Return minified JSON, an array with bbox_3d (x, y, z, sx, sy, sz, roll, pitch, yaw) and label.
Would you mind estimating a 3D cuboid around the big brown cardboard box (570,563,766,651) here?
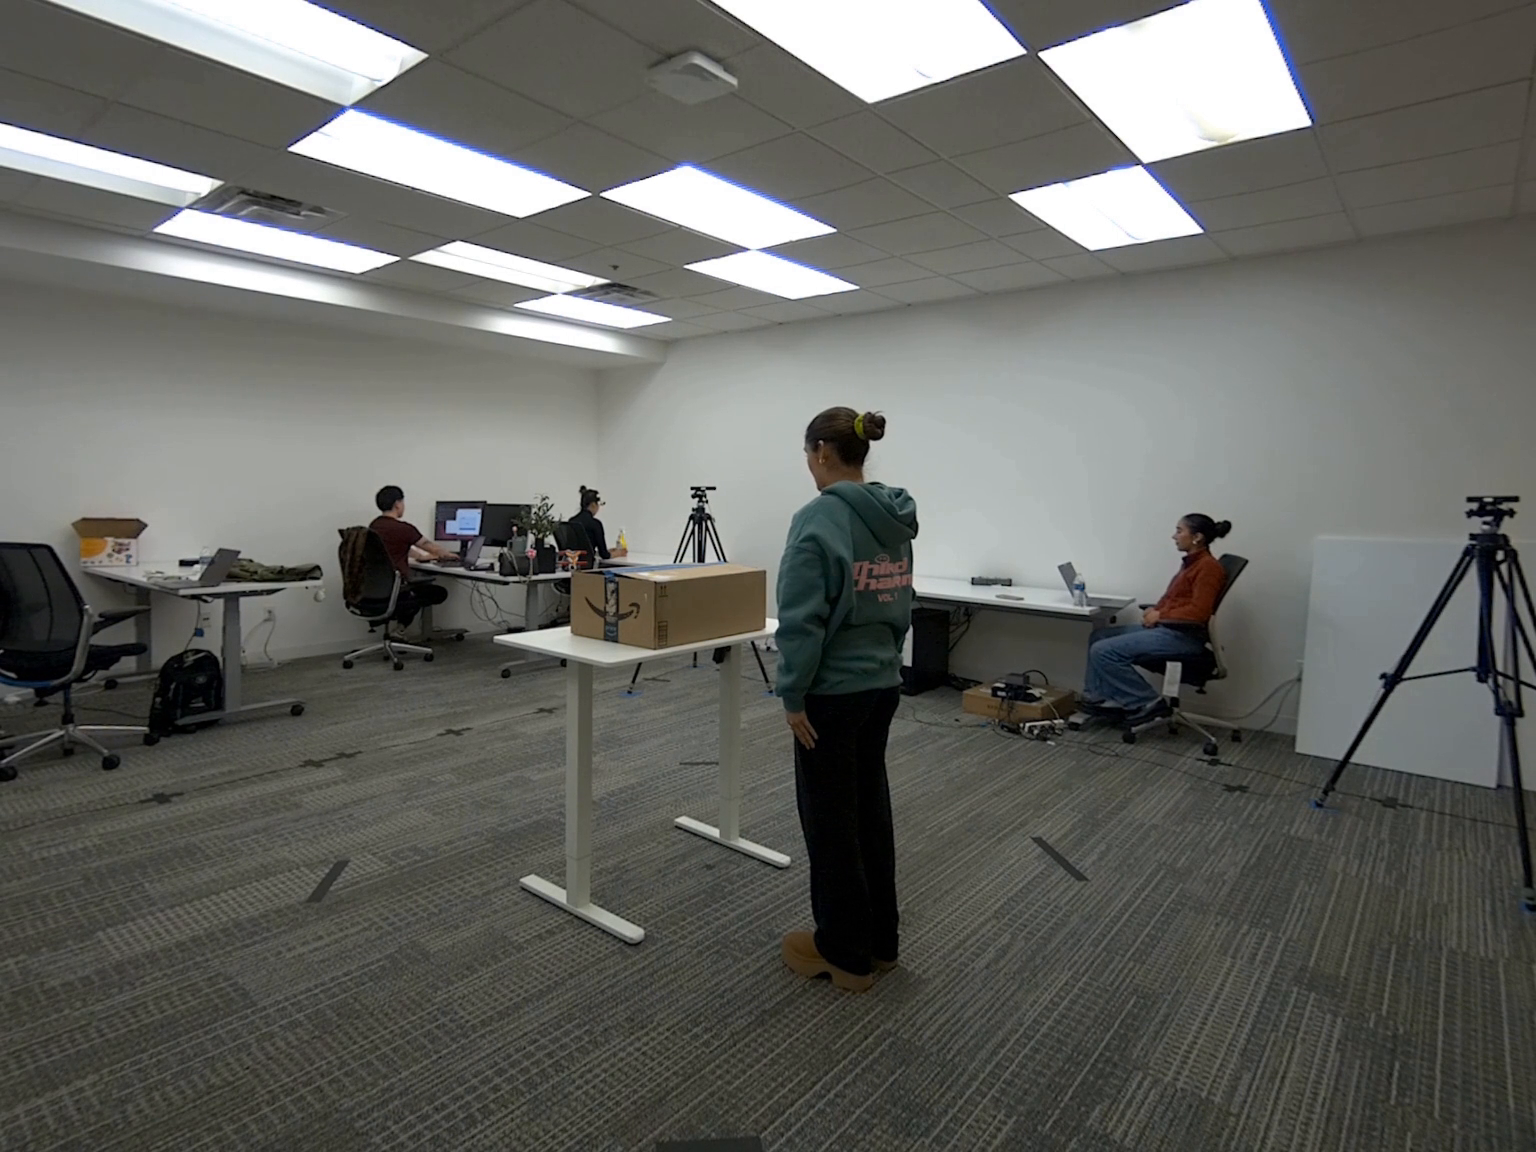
[{"bbox_3d":[-0.352,0.087,2.968,0.431,0.232,0.571,4,6,39],"label":"big brown cardboard box"}]
